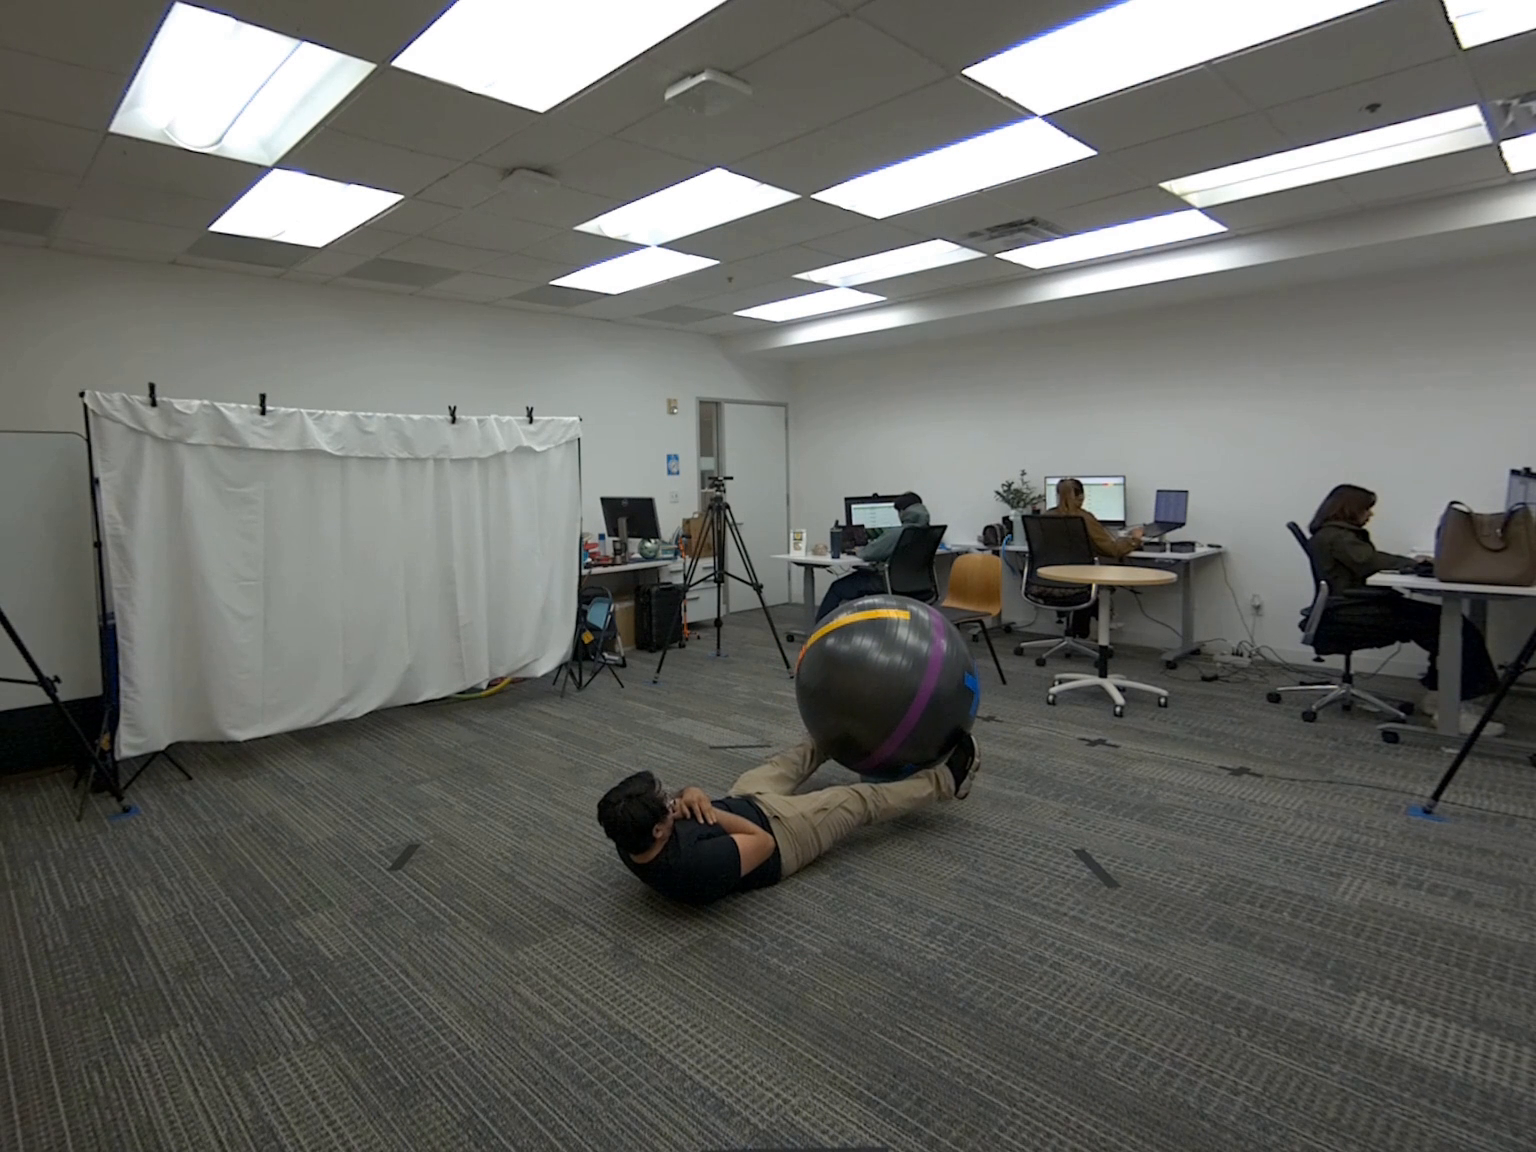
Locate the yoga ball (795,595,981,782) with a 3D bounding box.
[{"bbox_3d":[0.496,0.462,3.587,0.757,0.755,0.762,-1,5,-2],"label":"yoga ball"}]
